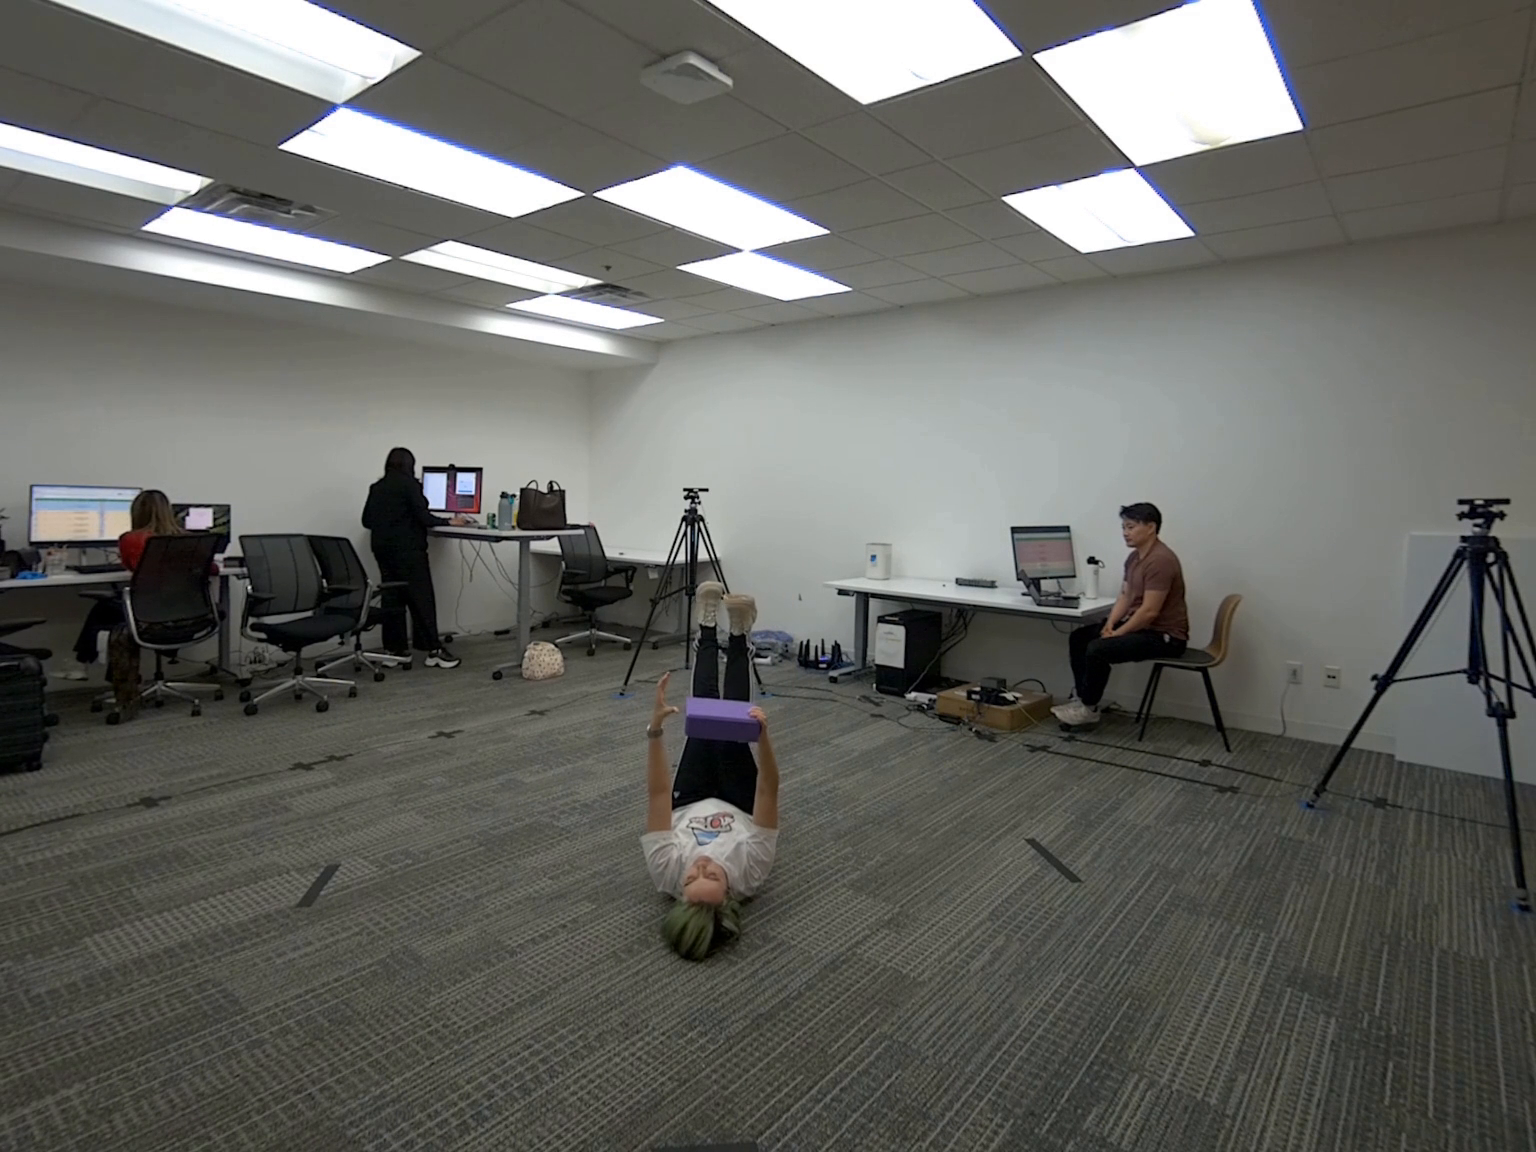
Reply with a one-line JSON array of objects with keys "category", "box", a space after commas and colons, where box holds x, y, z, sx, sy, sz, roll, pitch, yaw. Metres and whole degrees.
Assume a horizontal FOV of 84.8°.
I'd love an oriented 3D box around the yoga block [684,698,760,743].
[{"category": "yoga block", "box": [-0.157, 0.447, 2.678, 0.229, 0.075, 0.151, 5, 14, -3]}]
